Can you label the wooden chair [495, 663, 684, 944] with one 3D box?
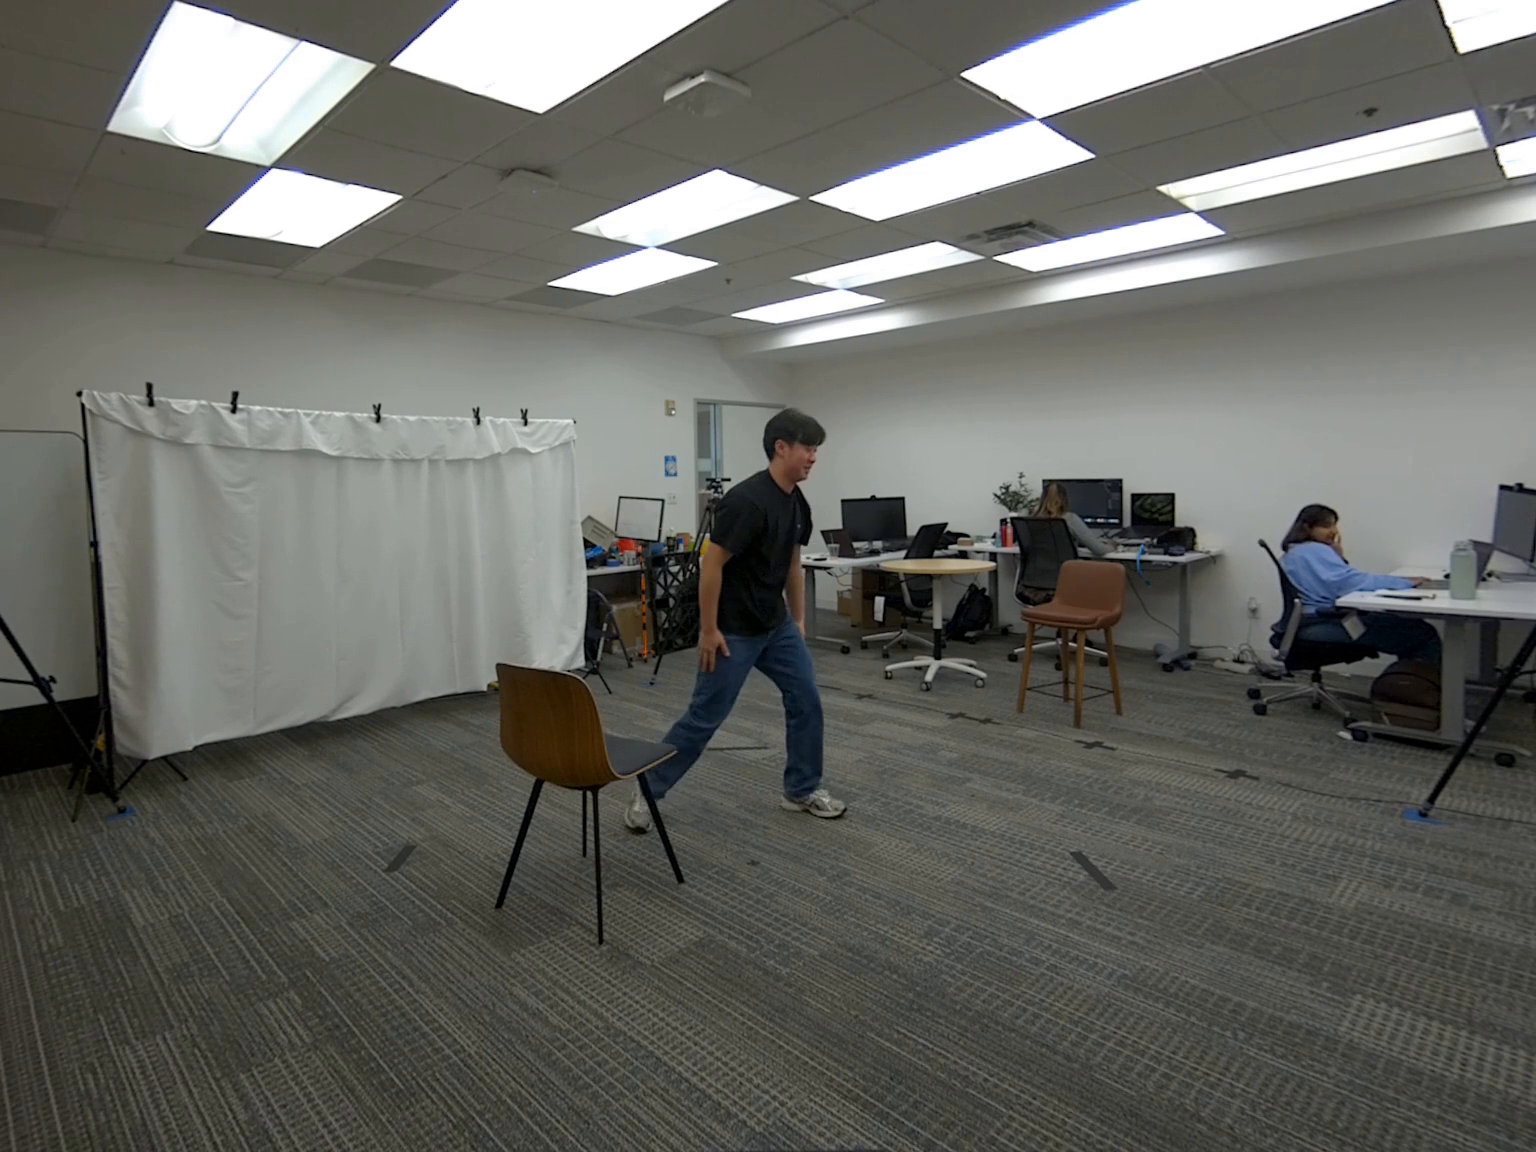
[{"bbox_3d":[-0.594,0.655,2.858,0.491,0.871,0.513,1,9,30],"label":"wooden chair"}]
